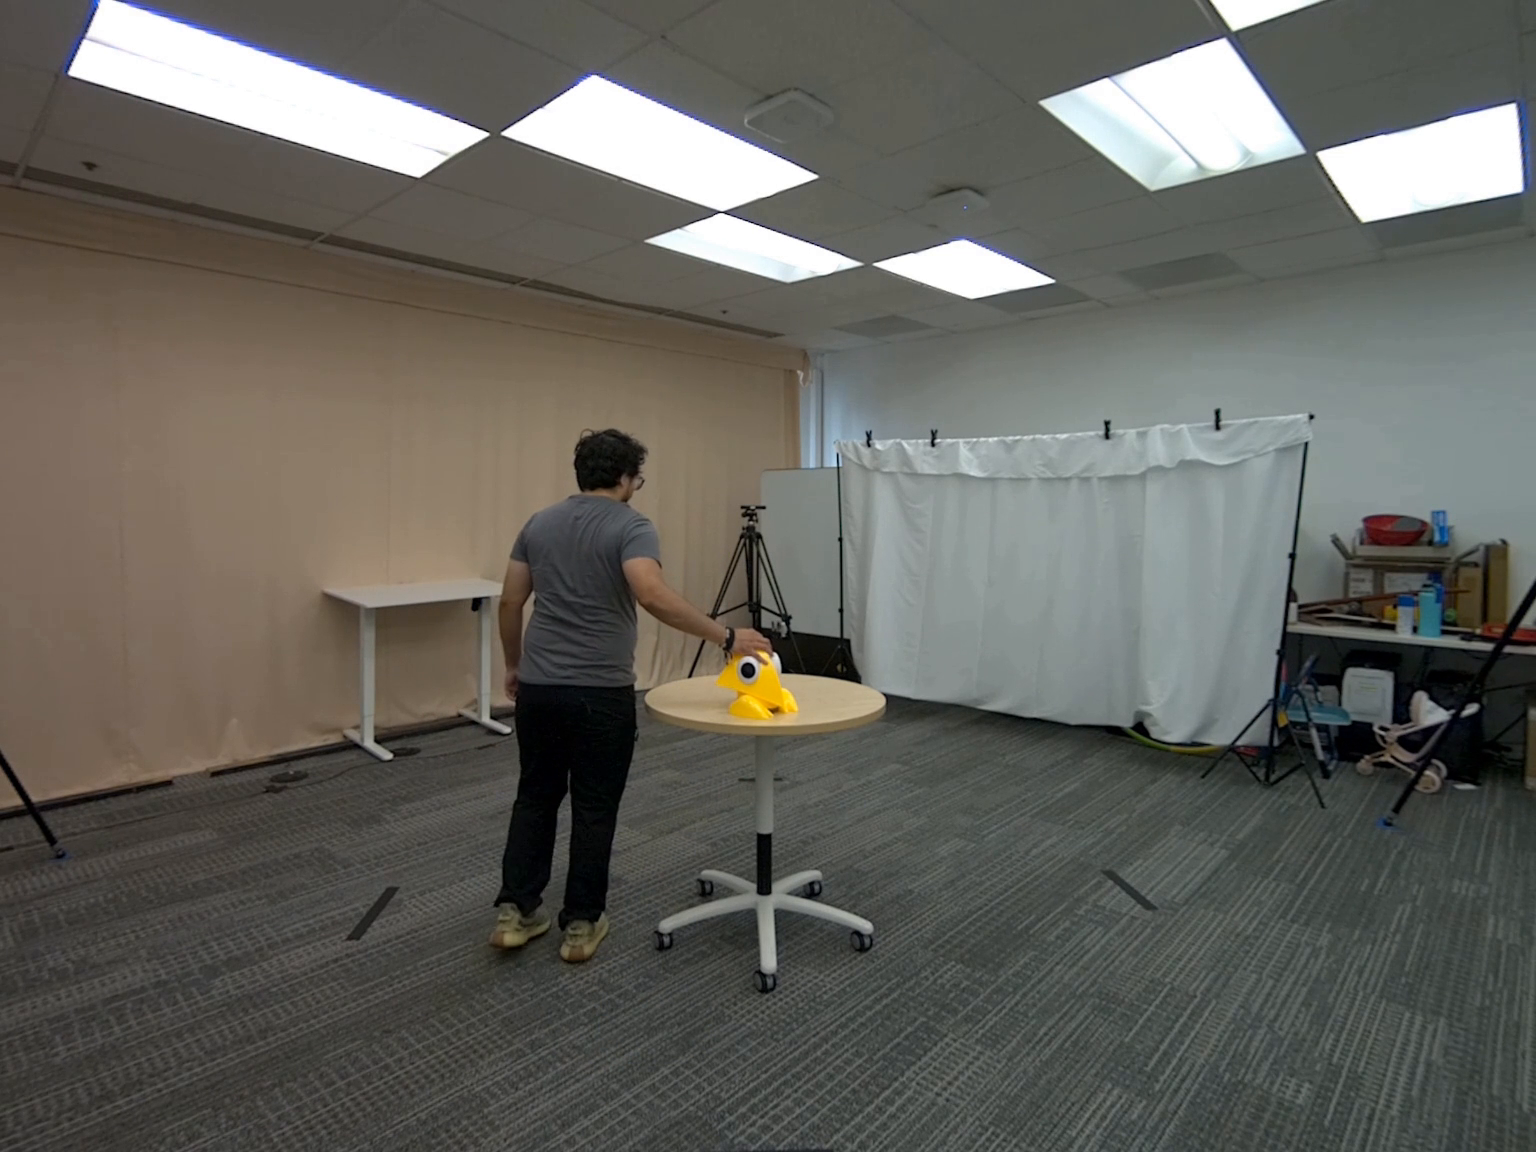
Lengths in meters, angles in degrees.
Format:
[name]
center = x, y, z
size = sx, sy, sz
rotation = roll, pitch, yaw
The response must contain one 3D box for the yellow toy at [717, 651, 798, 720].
[yellow toy]
center = -0.018, 0.288, 2.489
size = 0.198, 0.230, 0.199
rotation = -4, 4, -44
